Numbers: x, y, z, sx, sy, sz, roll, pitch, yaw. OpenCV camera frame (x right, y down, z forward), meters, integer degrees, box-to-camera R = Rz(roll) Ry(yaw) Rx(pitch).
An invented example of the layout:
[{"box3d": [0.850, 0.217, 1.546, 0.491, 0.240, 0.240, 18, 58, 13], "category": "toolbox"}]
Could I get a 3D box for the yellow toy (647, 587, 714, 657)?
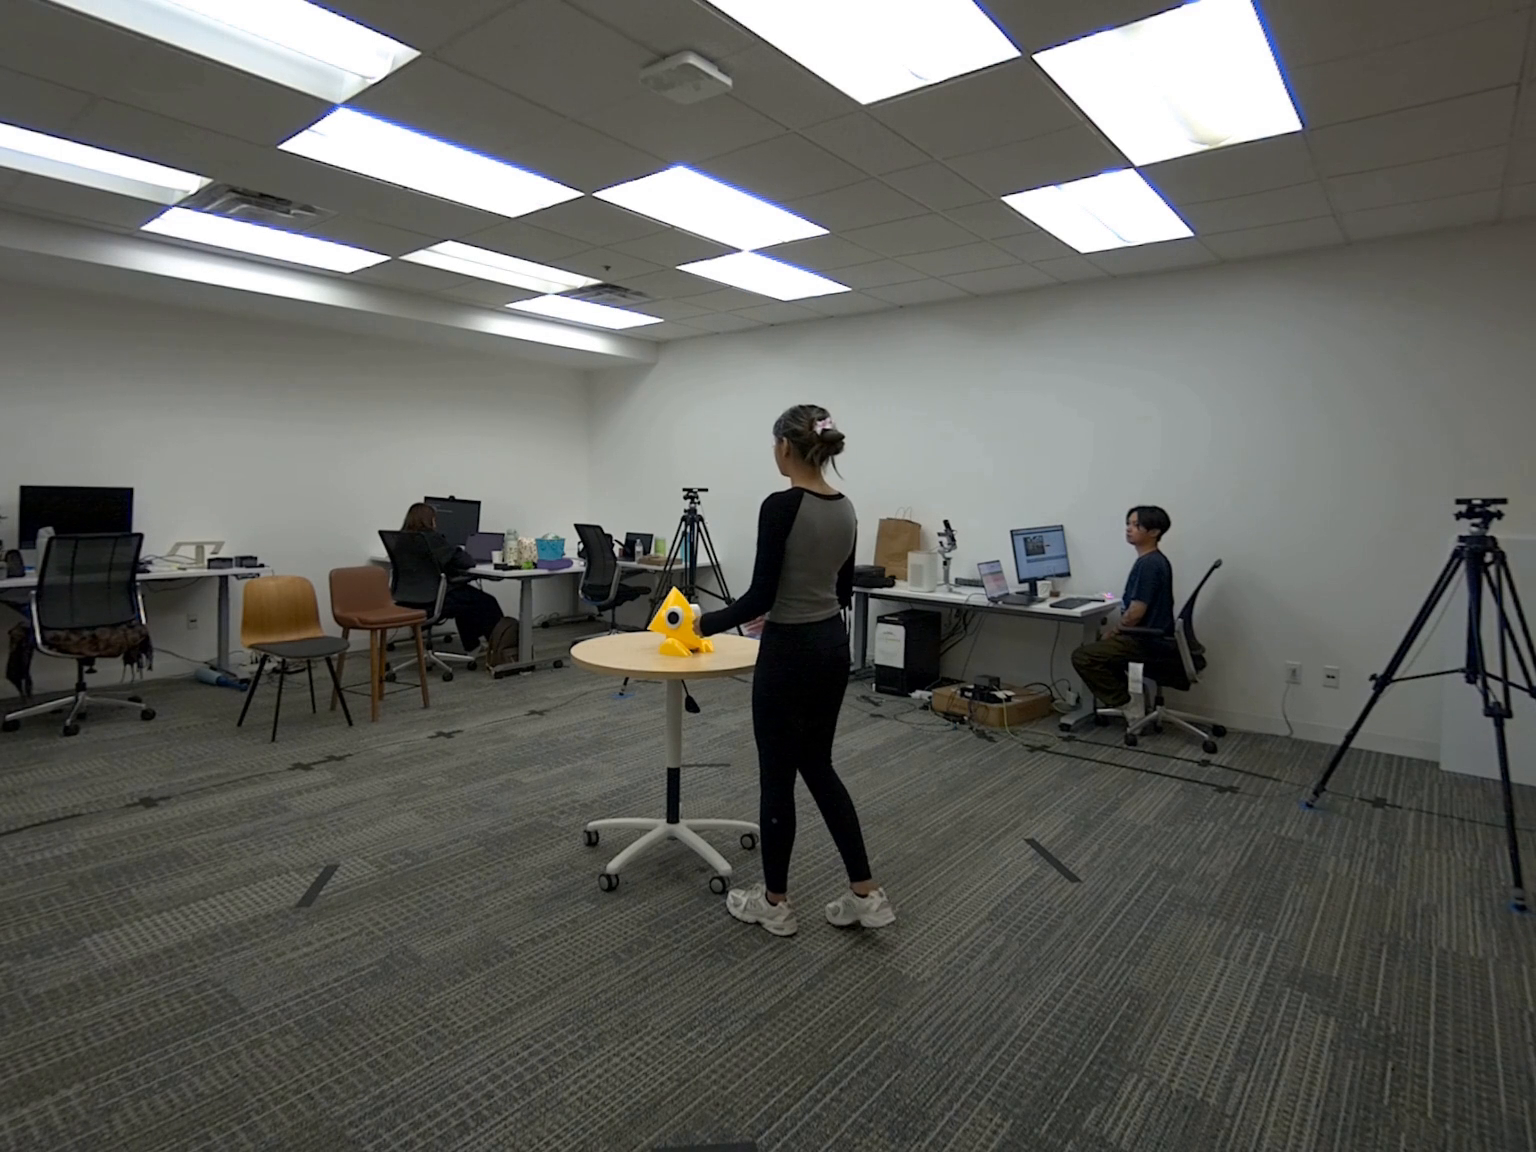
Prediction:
[{"box3d": [-0.316, 0.160, 3.122, 0.198, 0.230, 0.200, -3, 6, -45], "category": "yellow toy"}]
